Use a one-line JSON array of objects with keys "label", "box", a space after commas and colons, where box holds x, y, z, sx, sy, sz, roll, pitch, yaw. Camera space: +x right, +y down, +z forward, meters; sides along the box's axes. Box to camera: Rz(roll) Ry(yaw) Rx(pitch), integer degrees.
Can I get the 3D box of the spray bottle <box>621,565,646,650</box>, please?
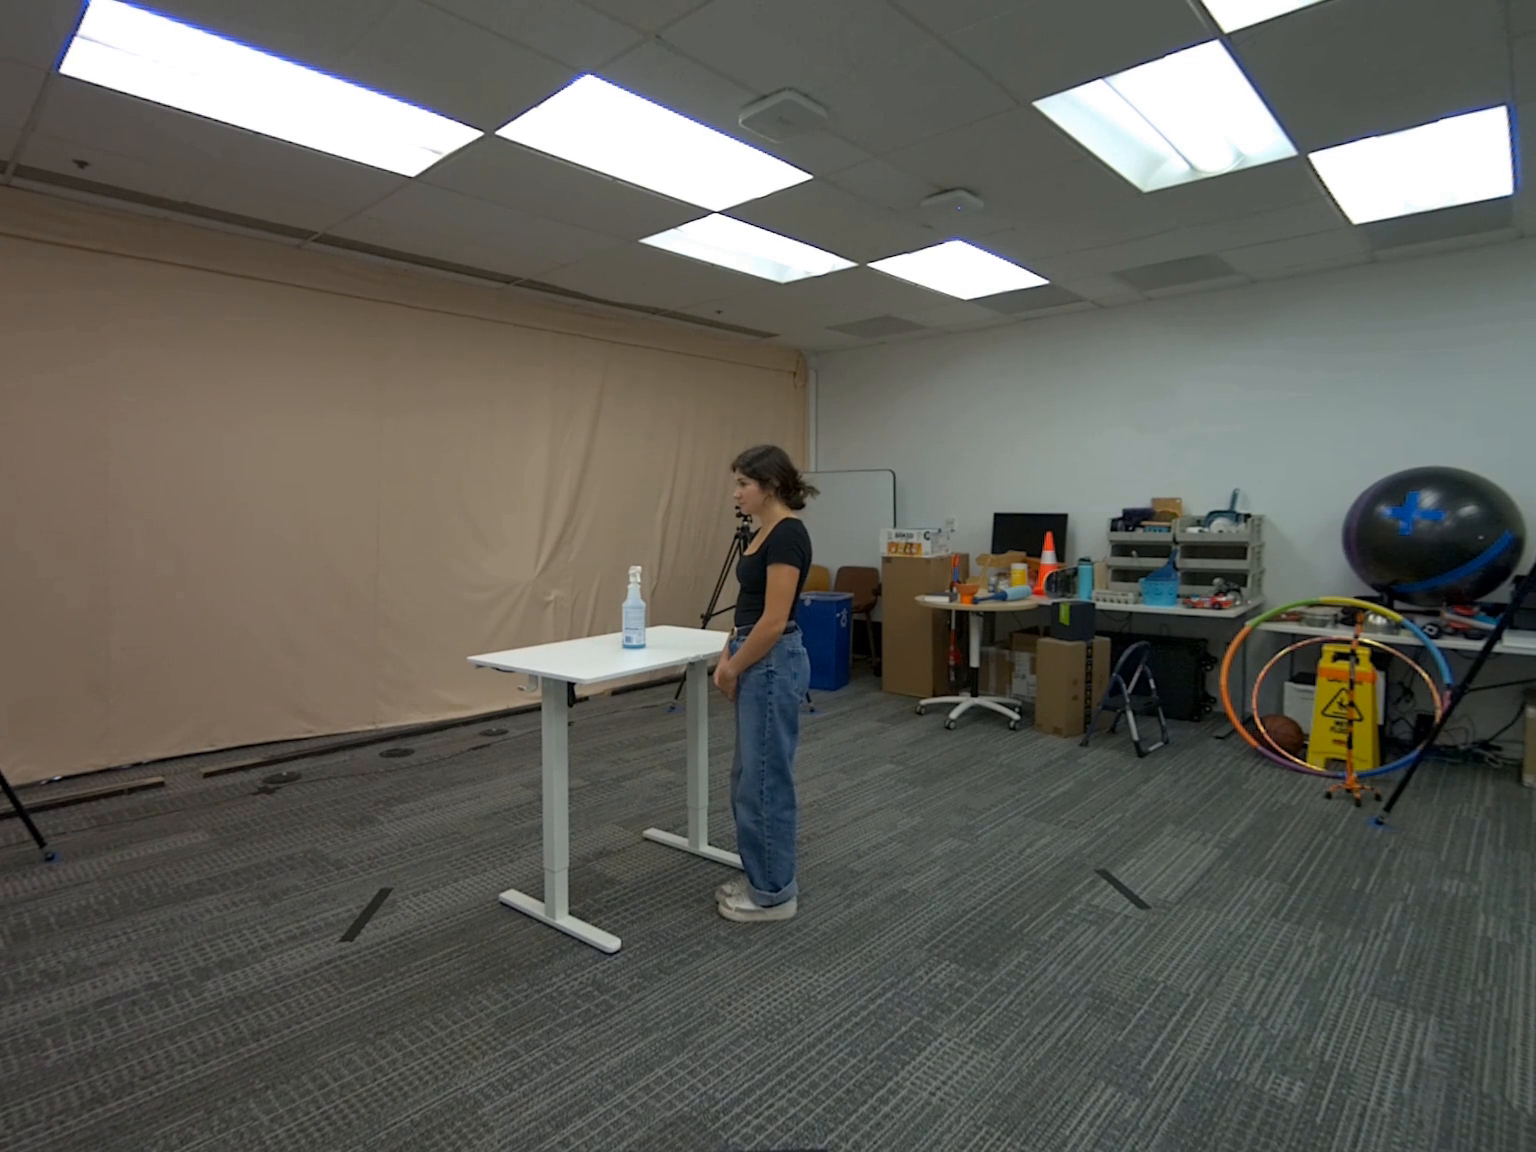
[{"label": "spray bottle", "box": [-0.486, 0.116, 3.073, 0.087, 0.297, 0.090, 0, 2, -3]}]
